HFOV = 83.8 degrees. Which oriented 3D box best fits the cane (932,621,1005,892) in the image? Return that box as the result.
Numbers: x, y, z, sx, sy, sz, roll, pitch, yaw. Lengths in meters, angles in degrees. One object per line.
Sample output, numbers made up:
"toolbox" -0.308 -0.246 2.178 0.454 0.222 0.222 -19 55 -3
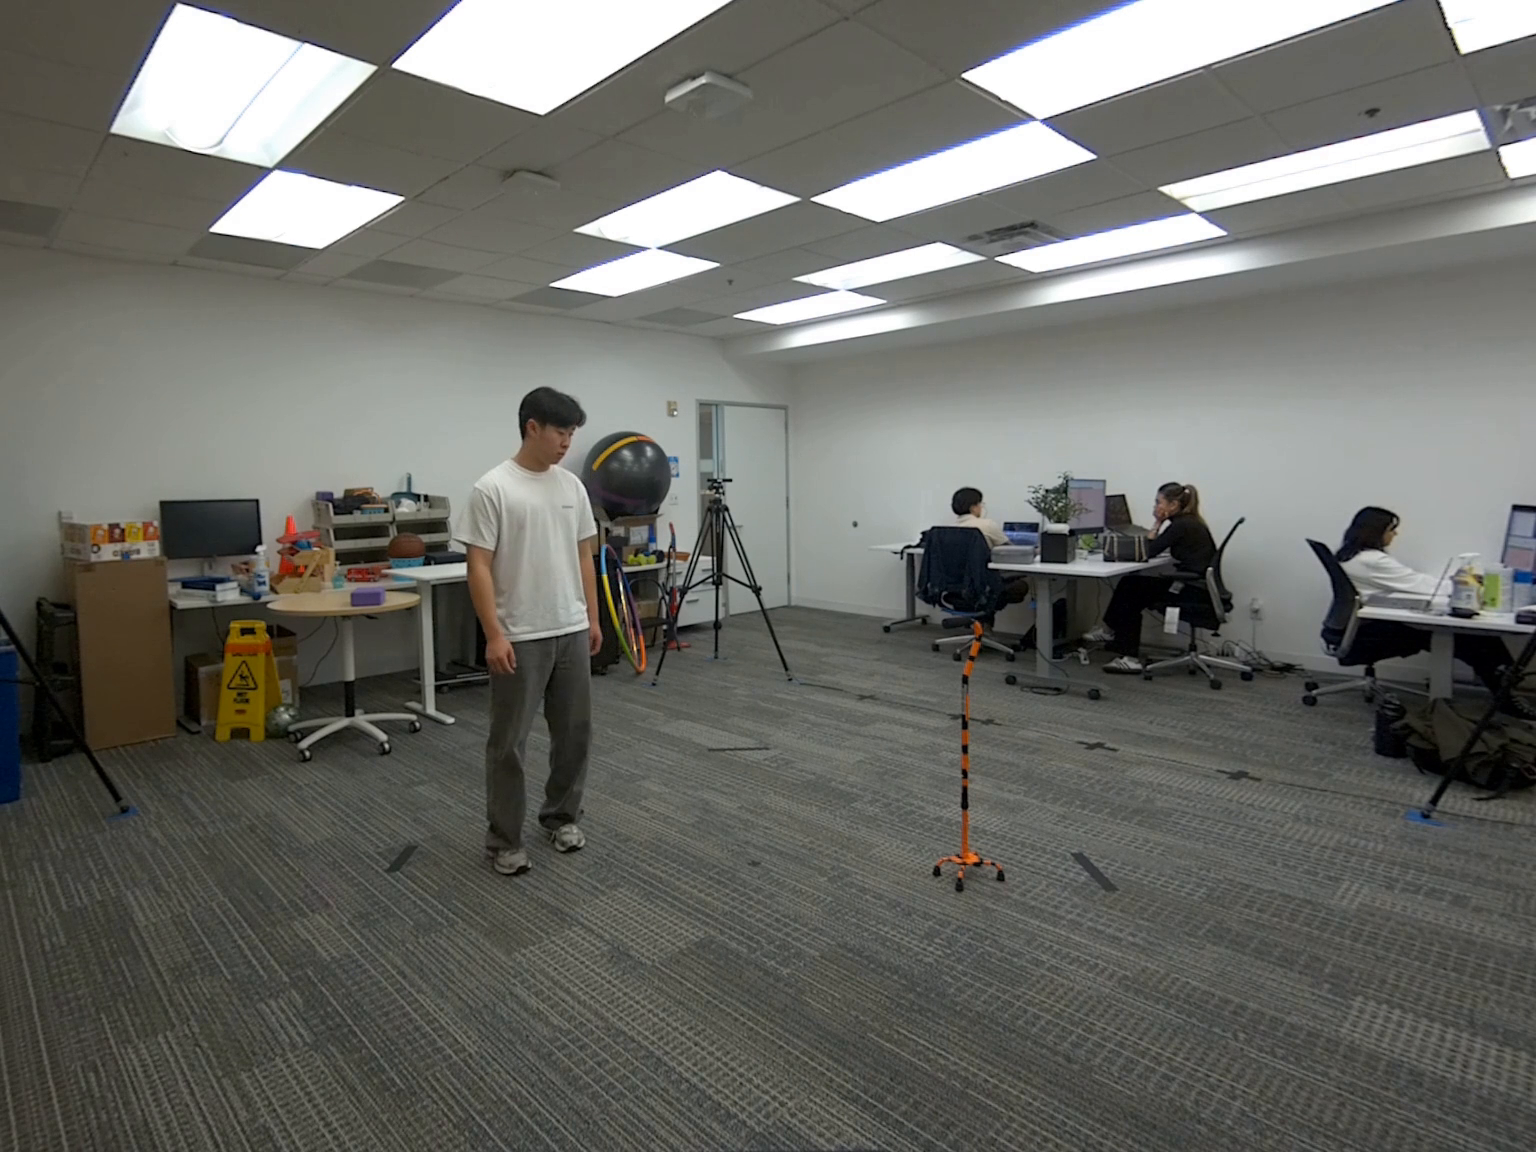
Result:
"cane" 0.692 0.591 2.936 0.202 0.905 0.155 -2 4 -27
